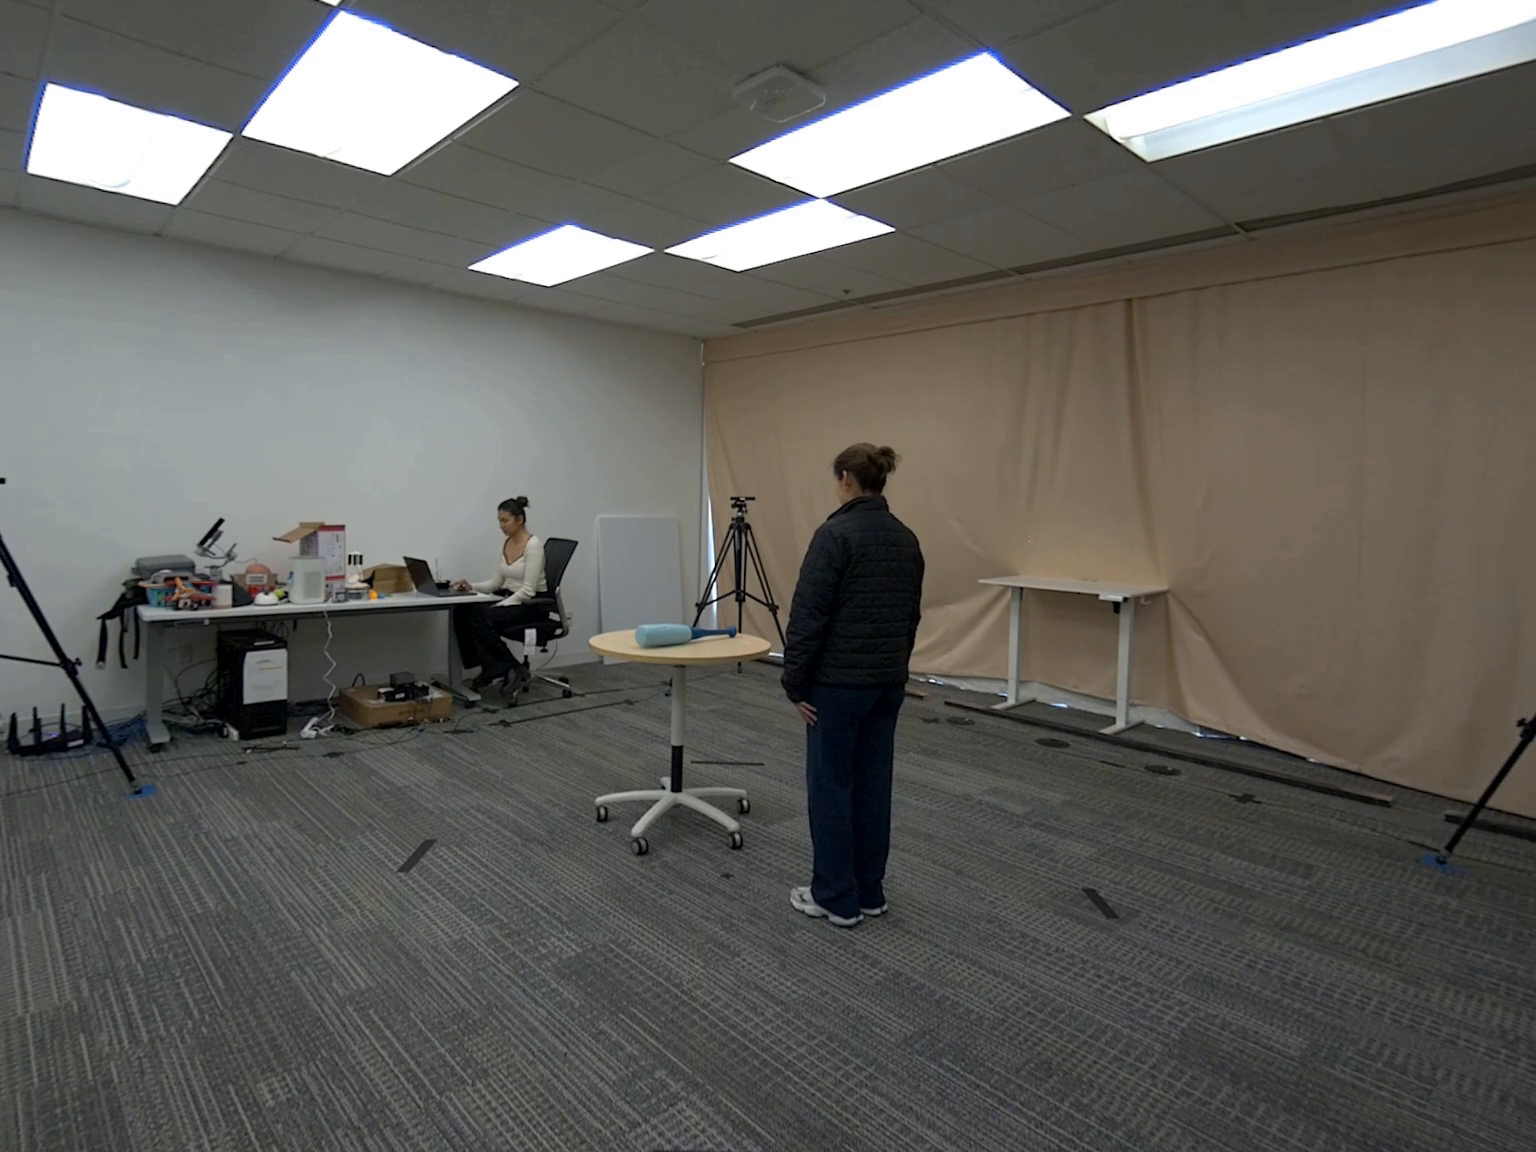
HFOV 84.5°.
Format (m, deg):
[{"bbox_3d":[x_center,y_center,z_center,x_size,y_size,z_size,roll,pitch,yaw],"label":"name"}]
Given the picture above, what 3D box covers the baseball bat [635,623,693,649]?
[{"bbox_3d":[-0.335,0.246,3.530,0.091,0.089,0.530,5,2,41],"label":"baseball bat"}]
